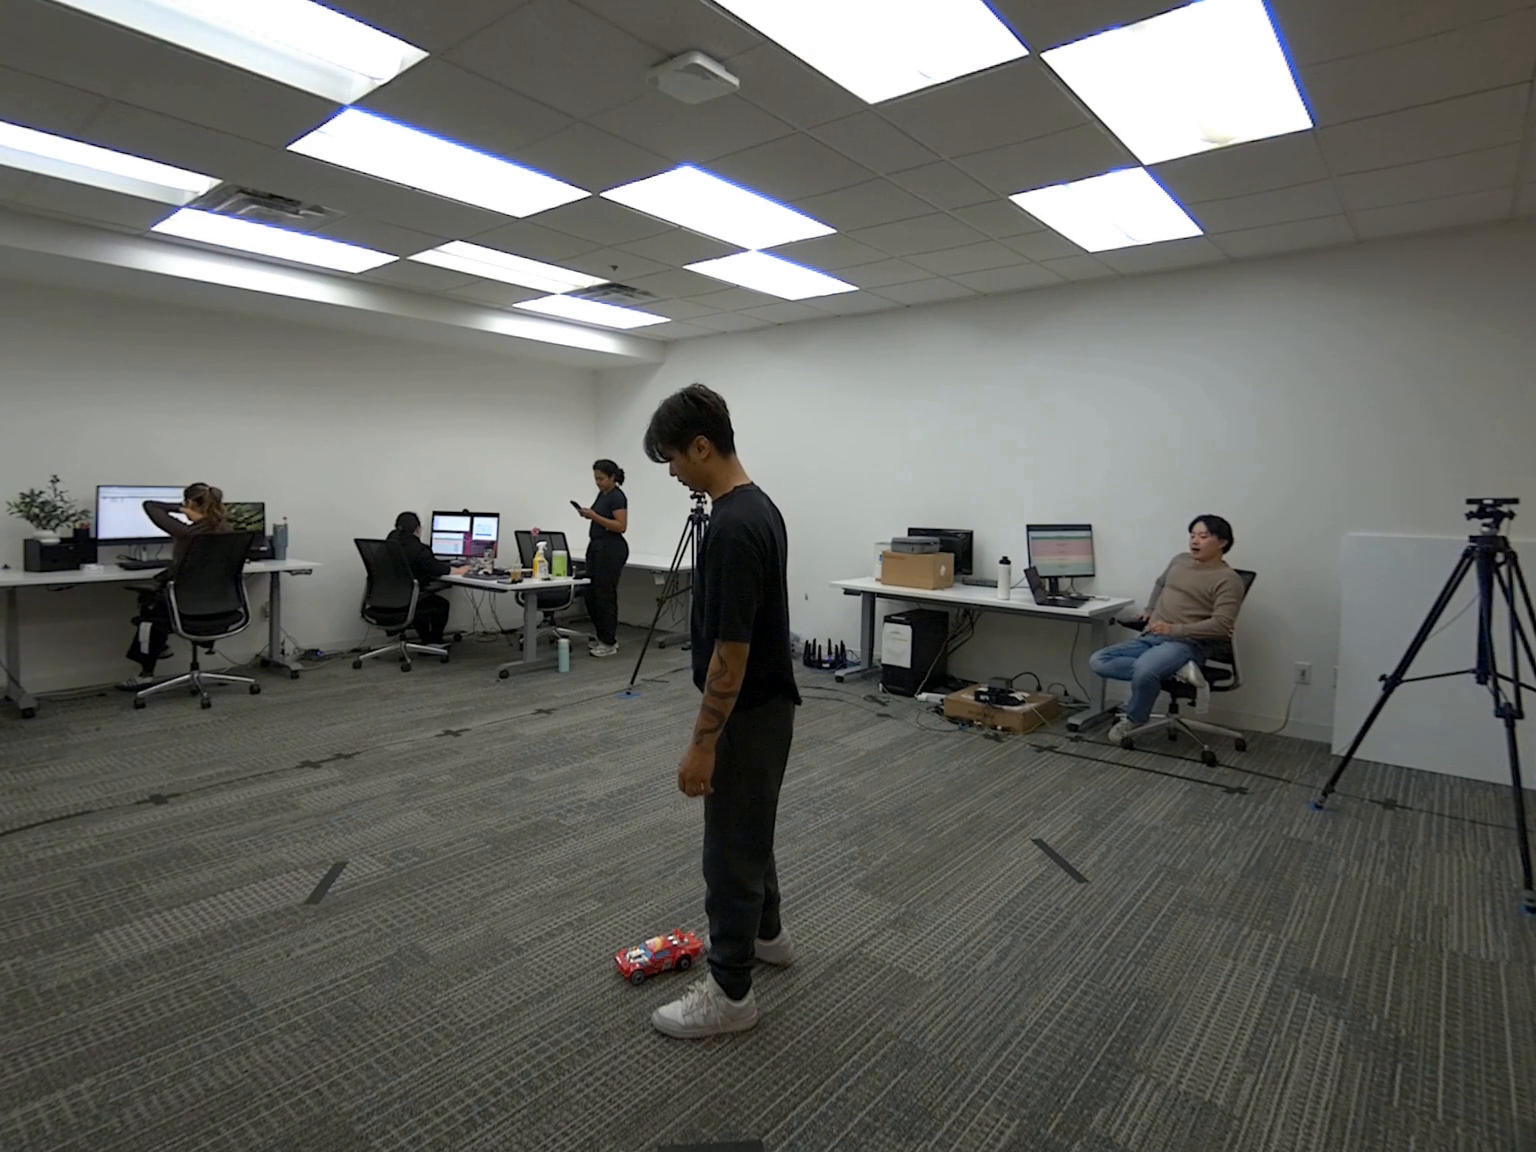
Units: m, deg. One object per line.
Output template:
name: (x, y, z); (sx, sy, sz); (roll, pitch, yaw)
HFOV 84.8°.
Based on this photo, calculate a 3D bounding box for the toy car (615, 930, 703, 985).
toy car: (-0.317, 1.097, 2.461); (0.249, 0.082, 0.134); (-15, 12, -29)
